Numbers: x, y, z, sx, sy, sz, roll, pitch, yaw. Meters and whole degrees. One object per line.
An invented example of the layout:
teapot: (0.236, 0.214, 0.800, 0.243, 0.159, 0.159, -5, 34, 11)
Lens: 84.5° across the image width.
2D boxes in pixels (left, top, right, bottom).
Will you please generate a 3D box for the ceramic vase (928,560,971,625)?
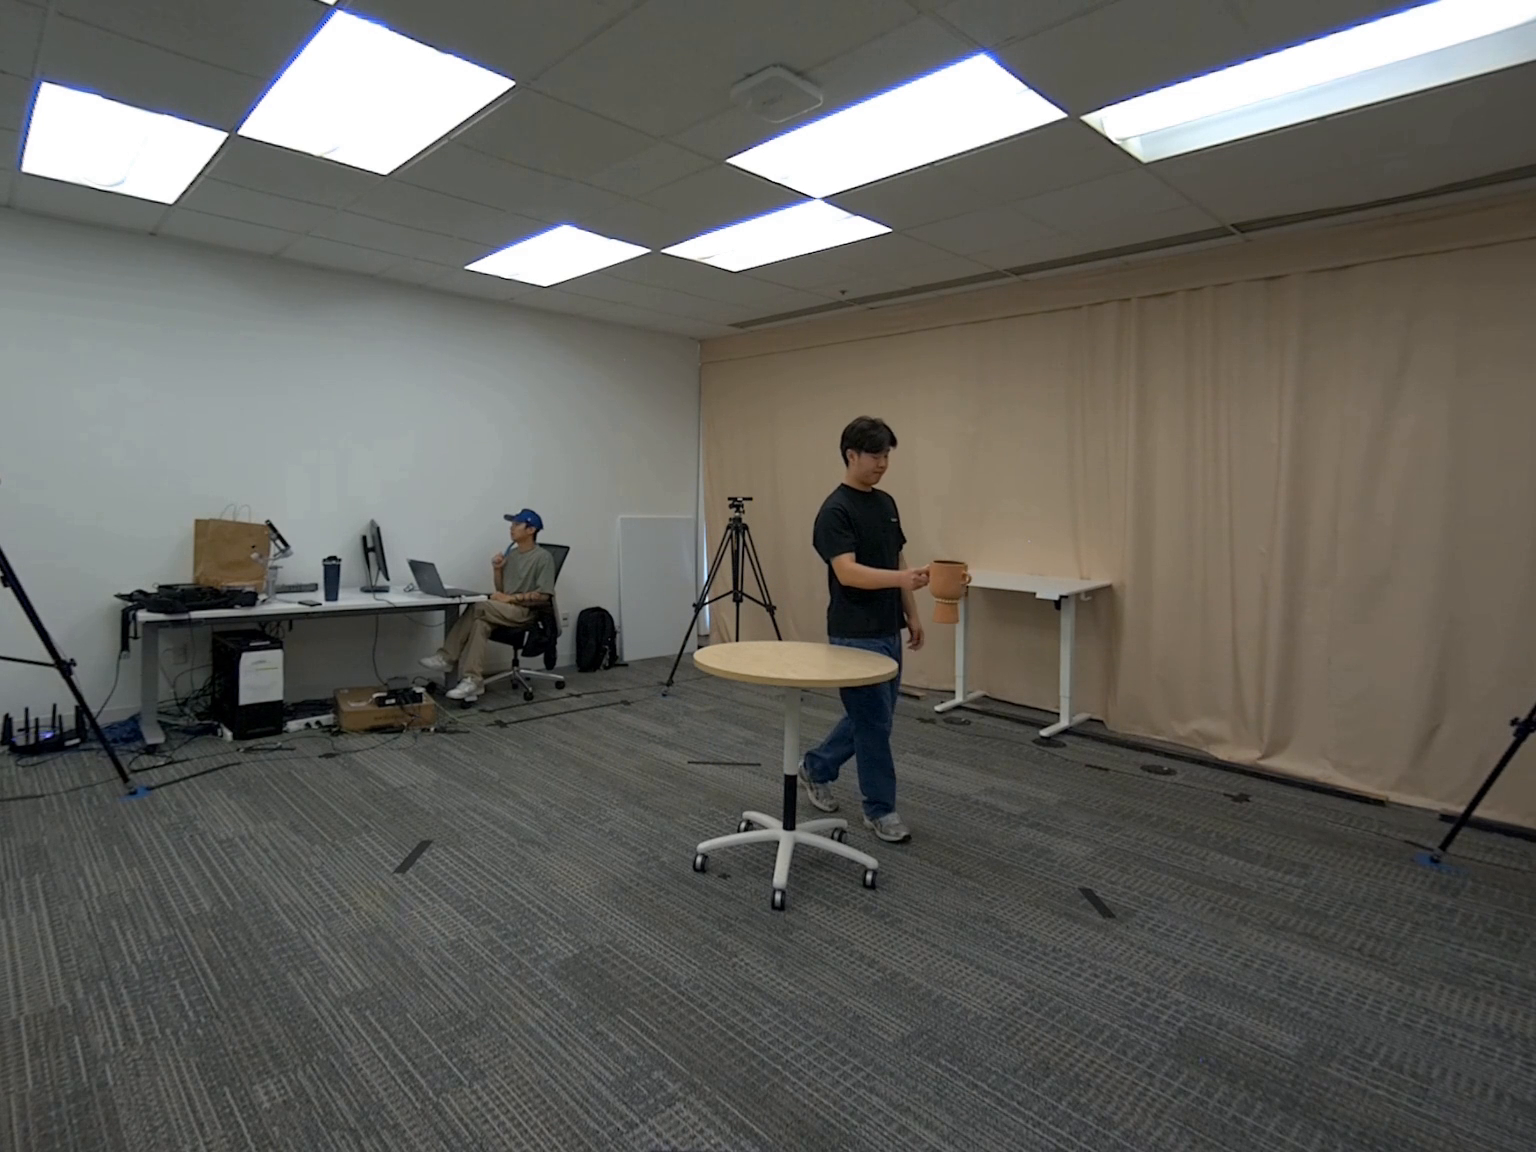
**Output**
ceramic vase: (0.641, 0.055, 3.104, 0.134, 0.219, 0.160, 1, 7, -2)
